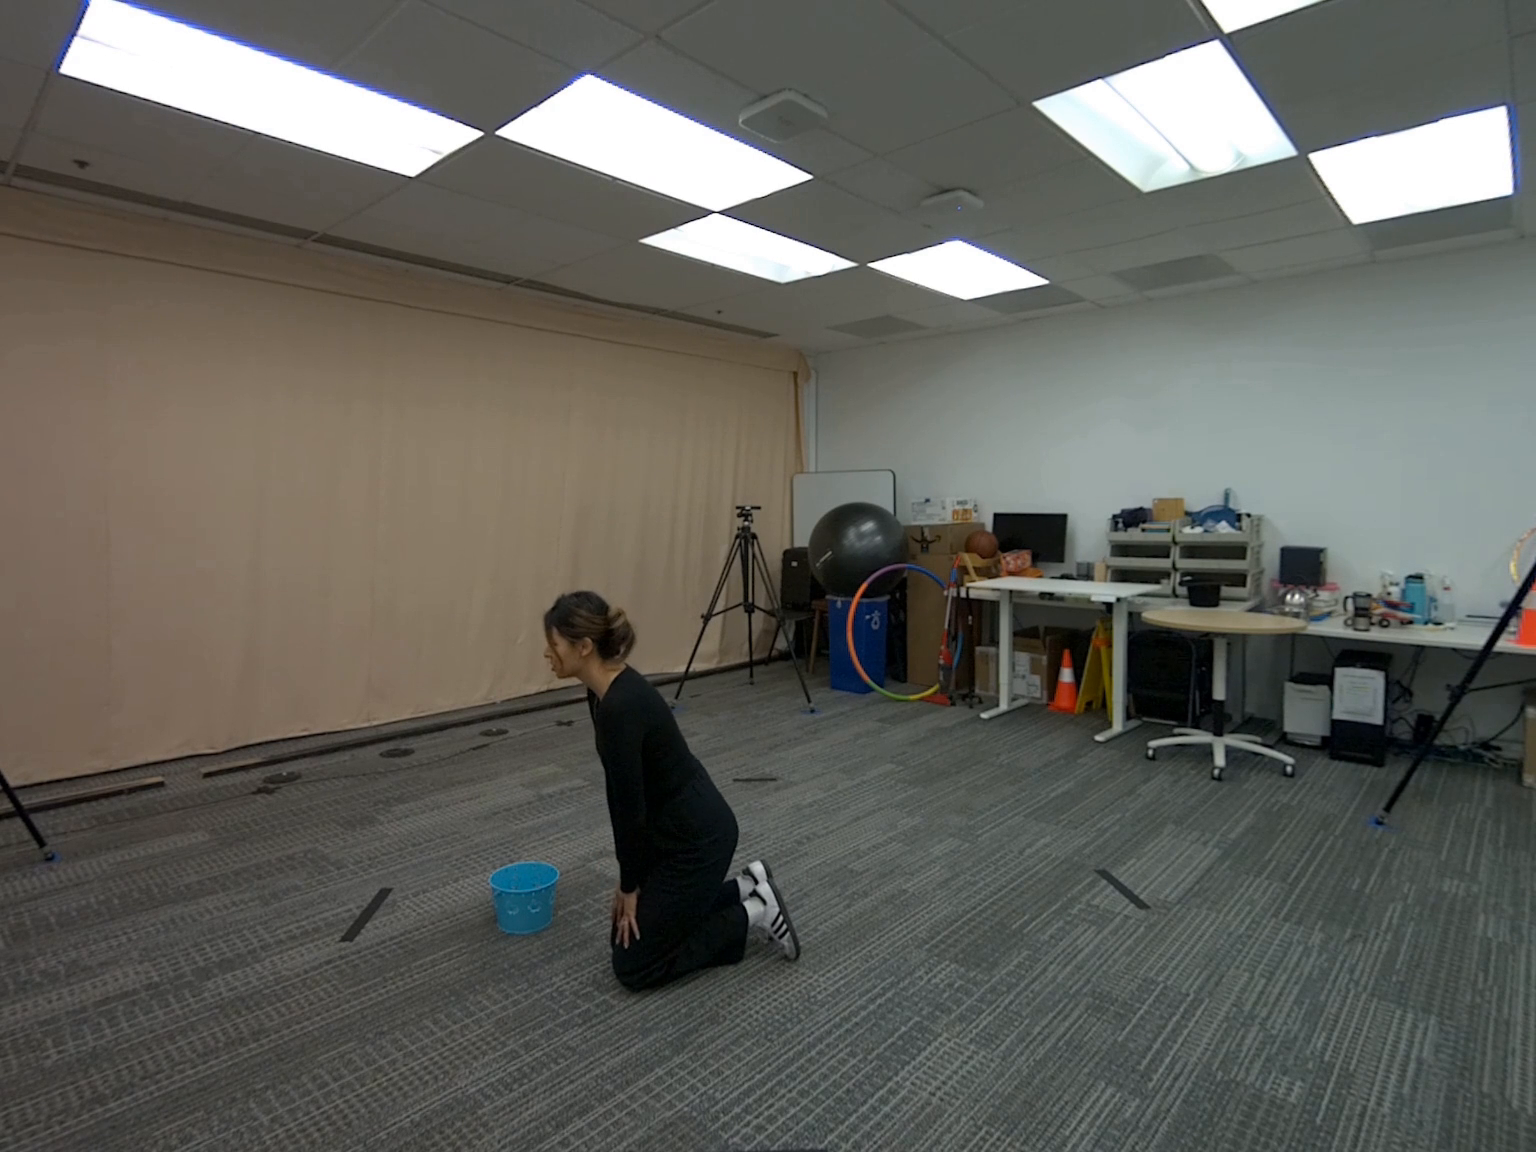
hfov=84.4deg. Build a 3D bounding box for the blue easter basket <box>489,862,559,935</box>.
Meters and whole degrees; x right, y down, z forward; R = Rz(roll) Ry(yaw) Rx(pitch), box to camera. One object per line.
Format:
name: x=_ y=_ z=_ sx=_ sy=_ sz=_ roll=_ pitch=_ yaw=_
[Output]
blue easter basket: x=-0.821 y=1.086 z=2.838 sx=0.243 sy=0.155 sz=0.244 roll=0 pitch=4 yaw=-2
